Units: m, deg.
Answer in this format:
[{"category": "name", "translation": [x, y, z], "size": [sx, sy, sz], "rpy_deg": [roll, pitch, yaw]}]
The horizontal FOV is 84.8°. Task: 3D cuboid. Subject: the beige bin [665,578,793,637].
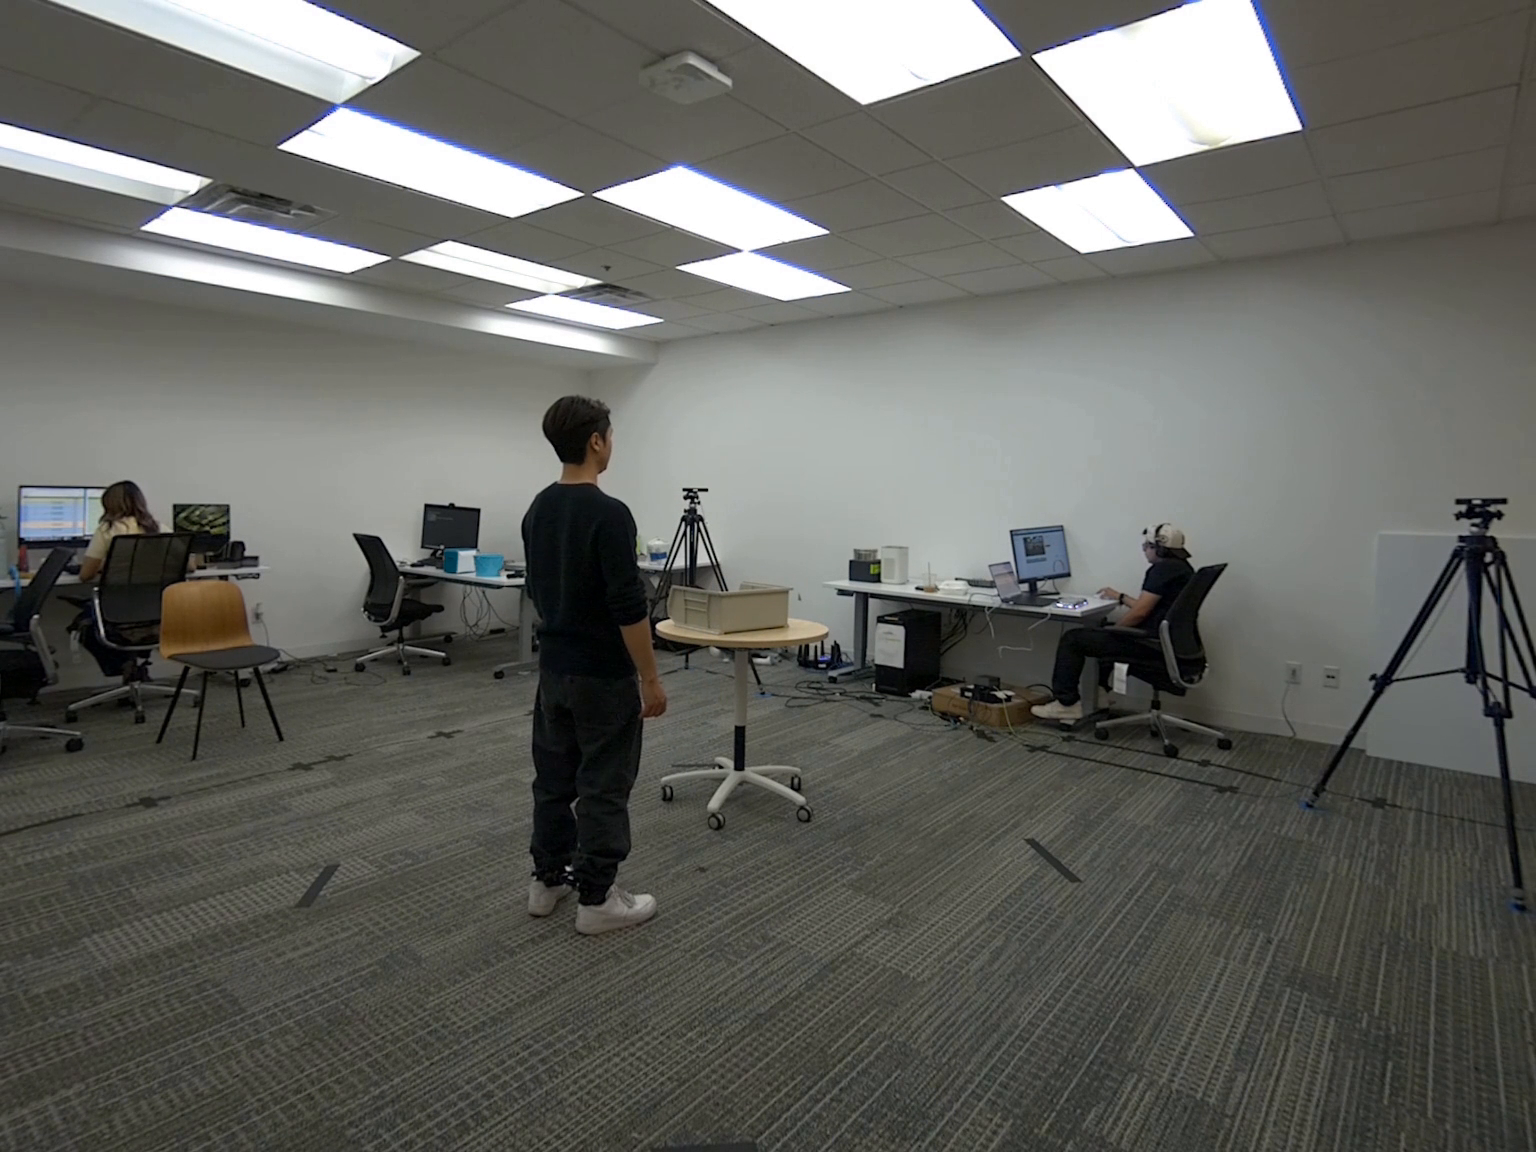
[{"category": "beige bin", "translation": [-0.180, 0.130, 3.787], "size": [0.409, 0.188, 0.390], "rpy_deg": [-3, 7, -42]}]
